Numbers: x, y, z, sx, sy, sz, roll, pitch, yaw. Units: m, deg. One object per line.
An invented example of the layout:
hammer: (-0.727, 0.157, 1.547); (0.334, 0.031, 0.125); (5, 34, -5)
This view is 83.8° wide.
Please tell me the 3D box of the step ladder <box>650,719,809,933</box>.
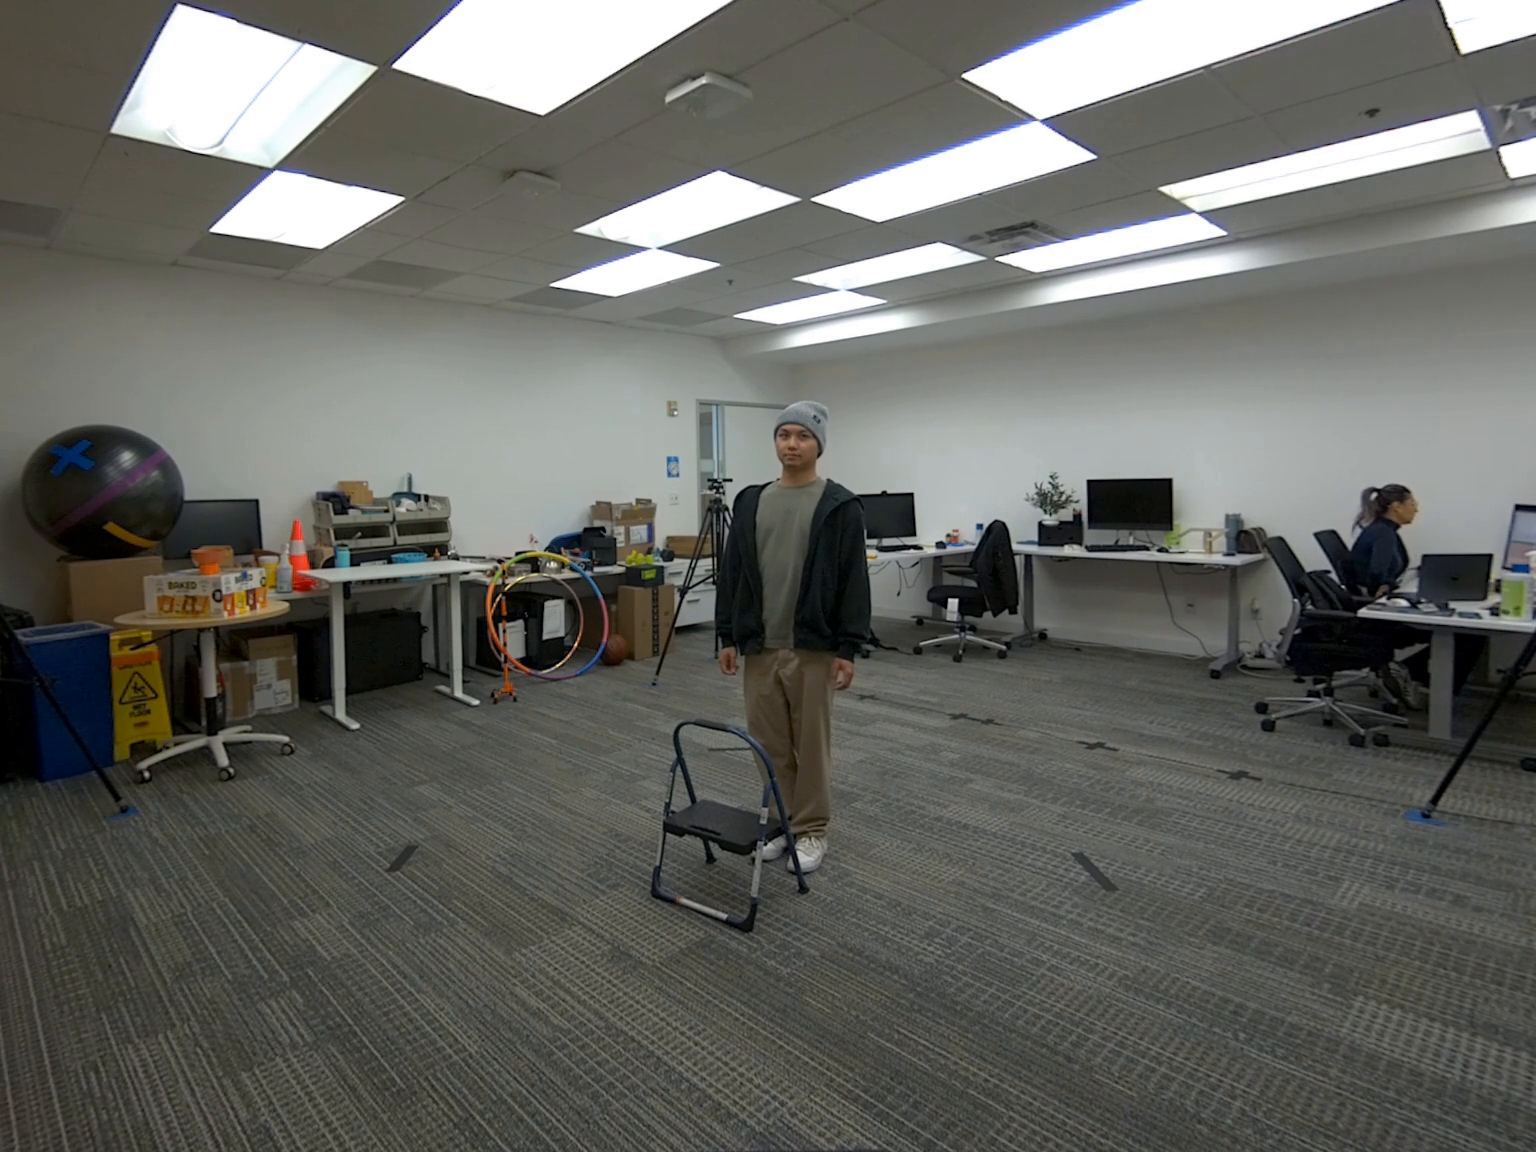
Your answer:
step ladder: (-0.135, 0.770, 2.866); (0.443, 0.604, 0.341); (2, 5, 35)
